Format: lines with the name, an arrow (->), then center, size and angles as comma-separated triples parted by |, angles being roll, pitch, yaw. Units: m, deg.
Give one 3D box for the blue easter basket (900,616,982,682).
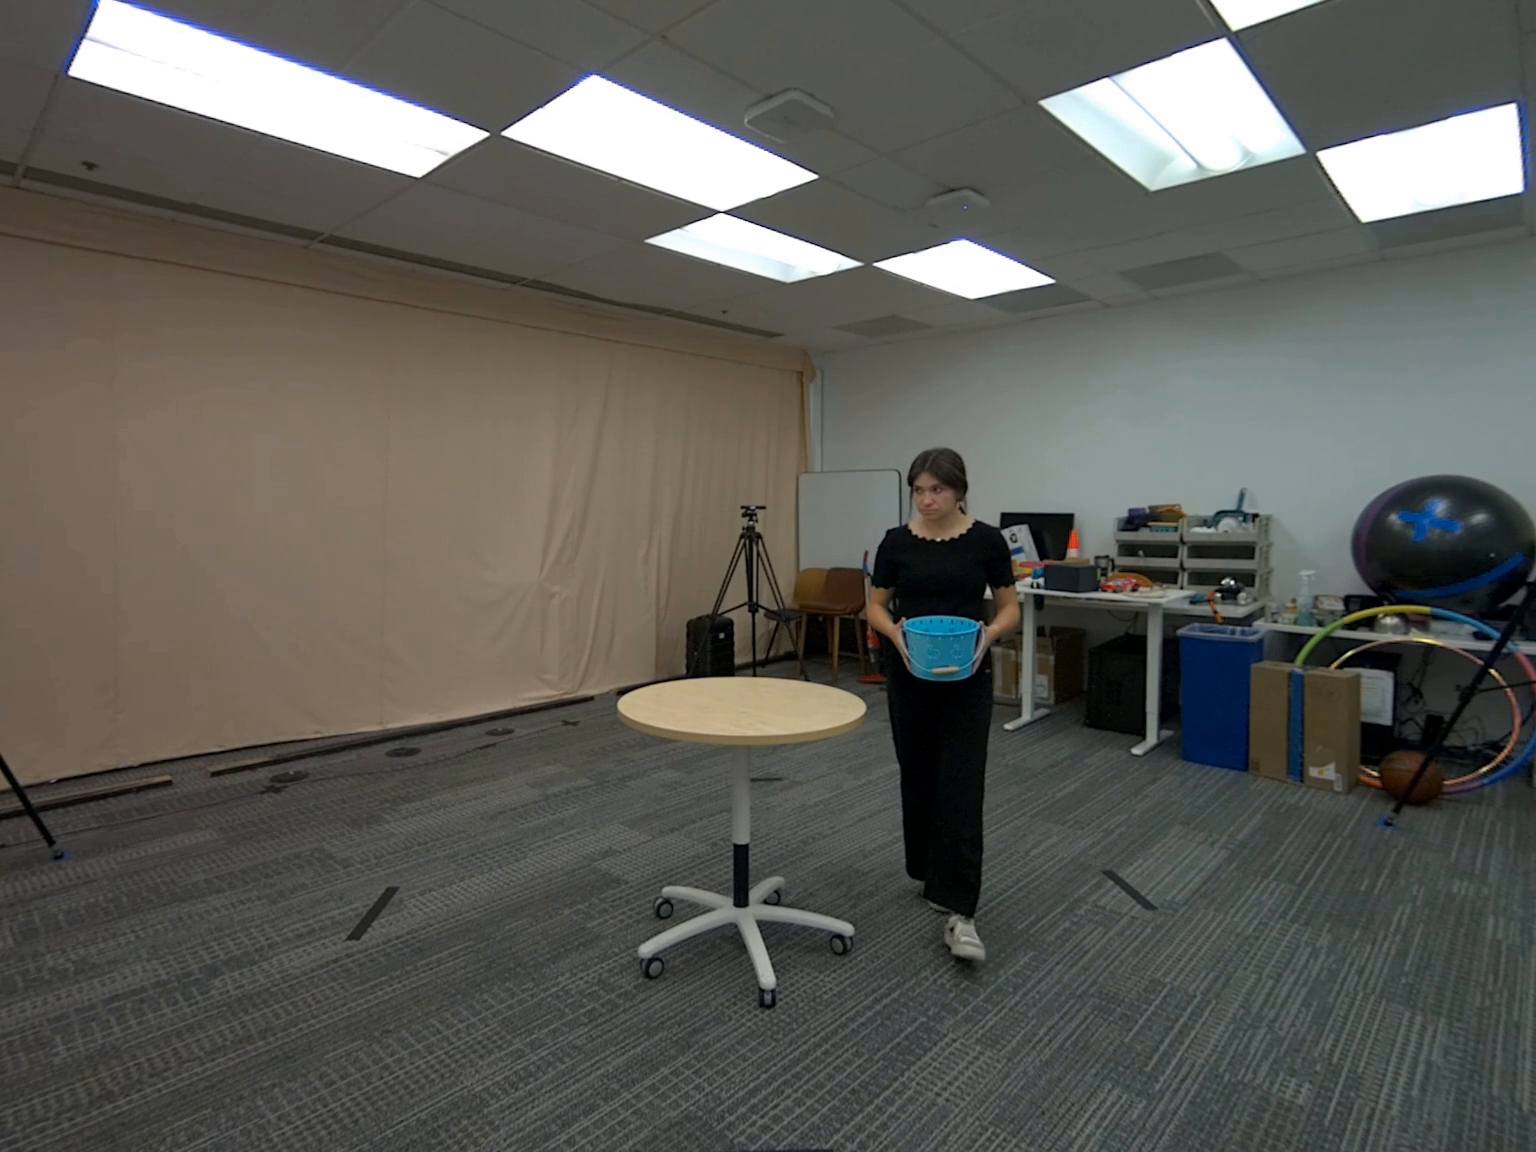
blue easter basket -> 0.540, 0.229, 2.621 | 0.243, 0.155, 0.245 | -1, 9, -2
